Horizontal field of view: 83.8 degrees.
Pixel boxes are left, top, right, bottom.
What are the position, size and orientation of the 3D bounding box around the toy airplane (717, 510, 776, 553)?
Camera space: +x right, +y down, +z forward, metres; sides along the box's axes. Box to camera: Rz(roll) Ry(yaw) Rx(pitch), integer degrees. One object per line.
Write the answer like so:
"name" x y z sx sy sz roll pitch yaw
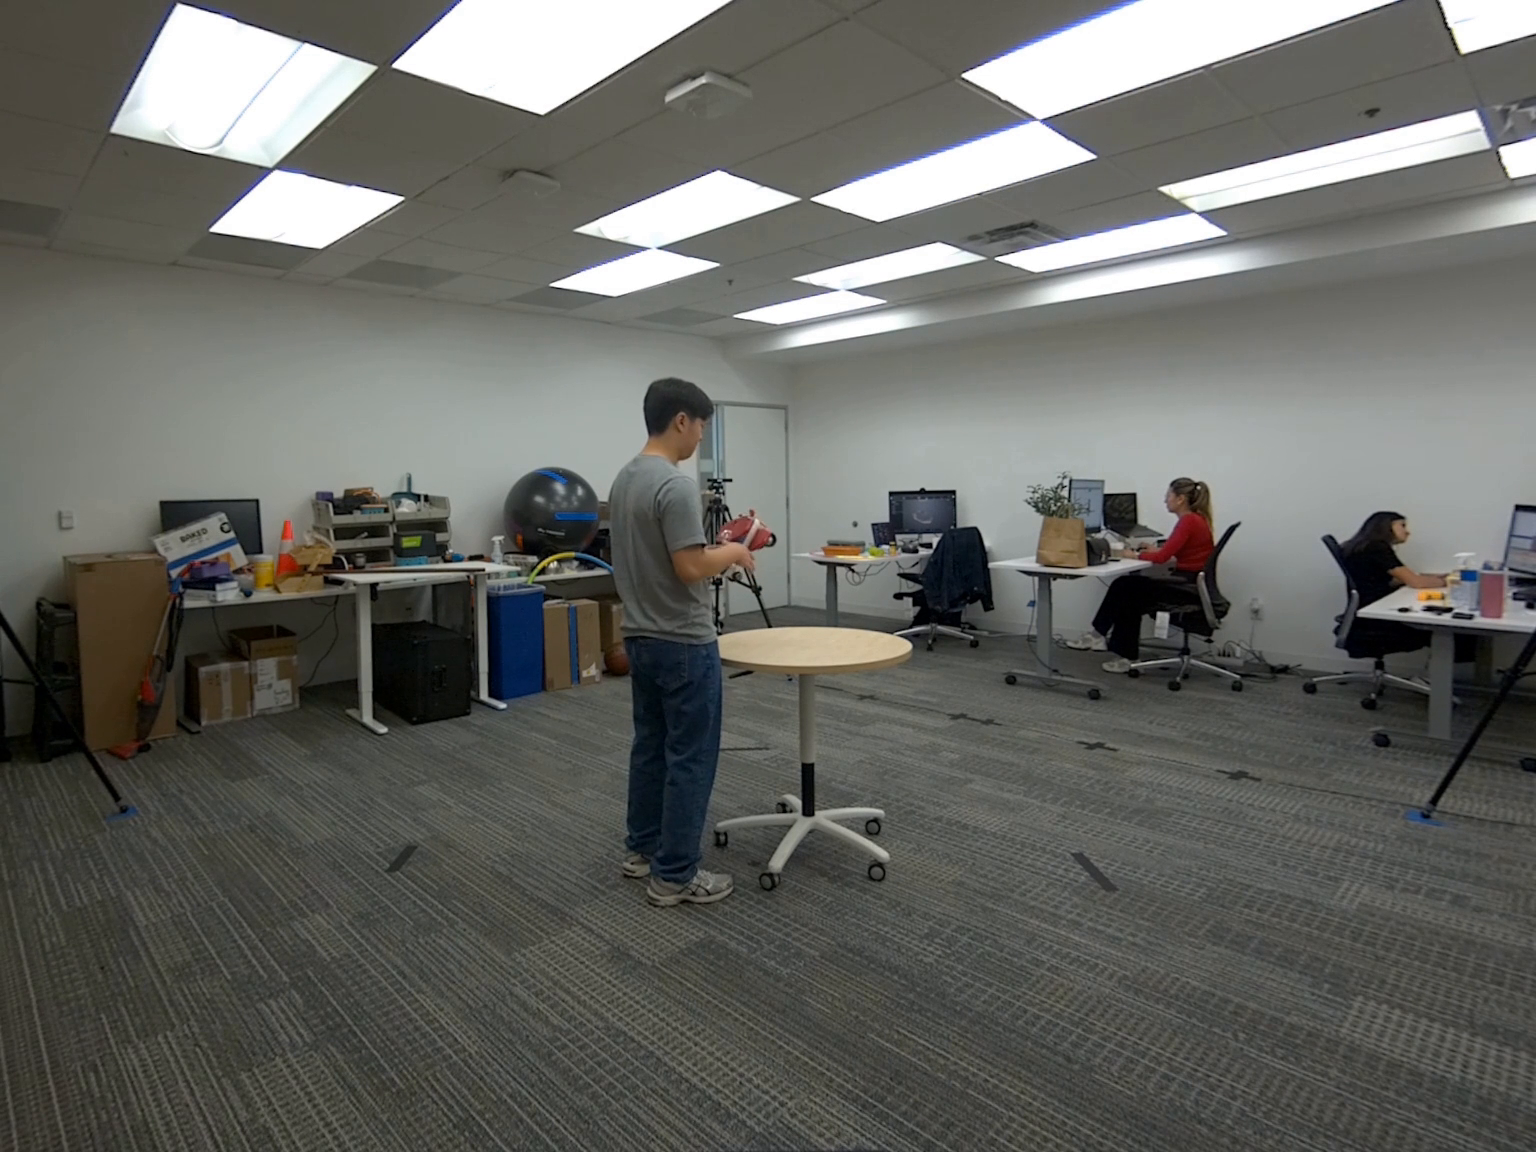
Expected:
"toy airplane" -0.088 -0.114 3.052 0.253 0.154 0.261 -31 19 38
